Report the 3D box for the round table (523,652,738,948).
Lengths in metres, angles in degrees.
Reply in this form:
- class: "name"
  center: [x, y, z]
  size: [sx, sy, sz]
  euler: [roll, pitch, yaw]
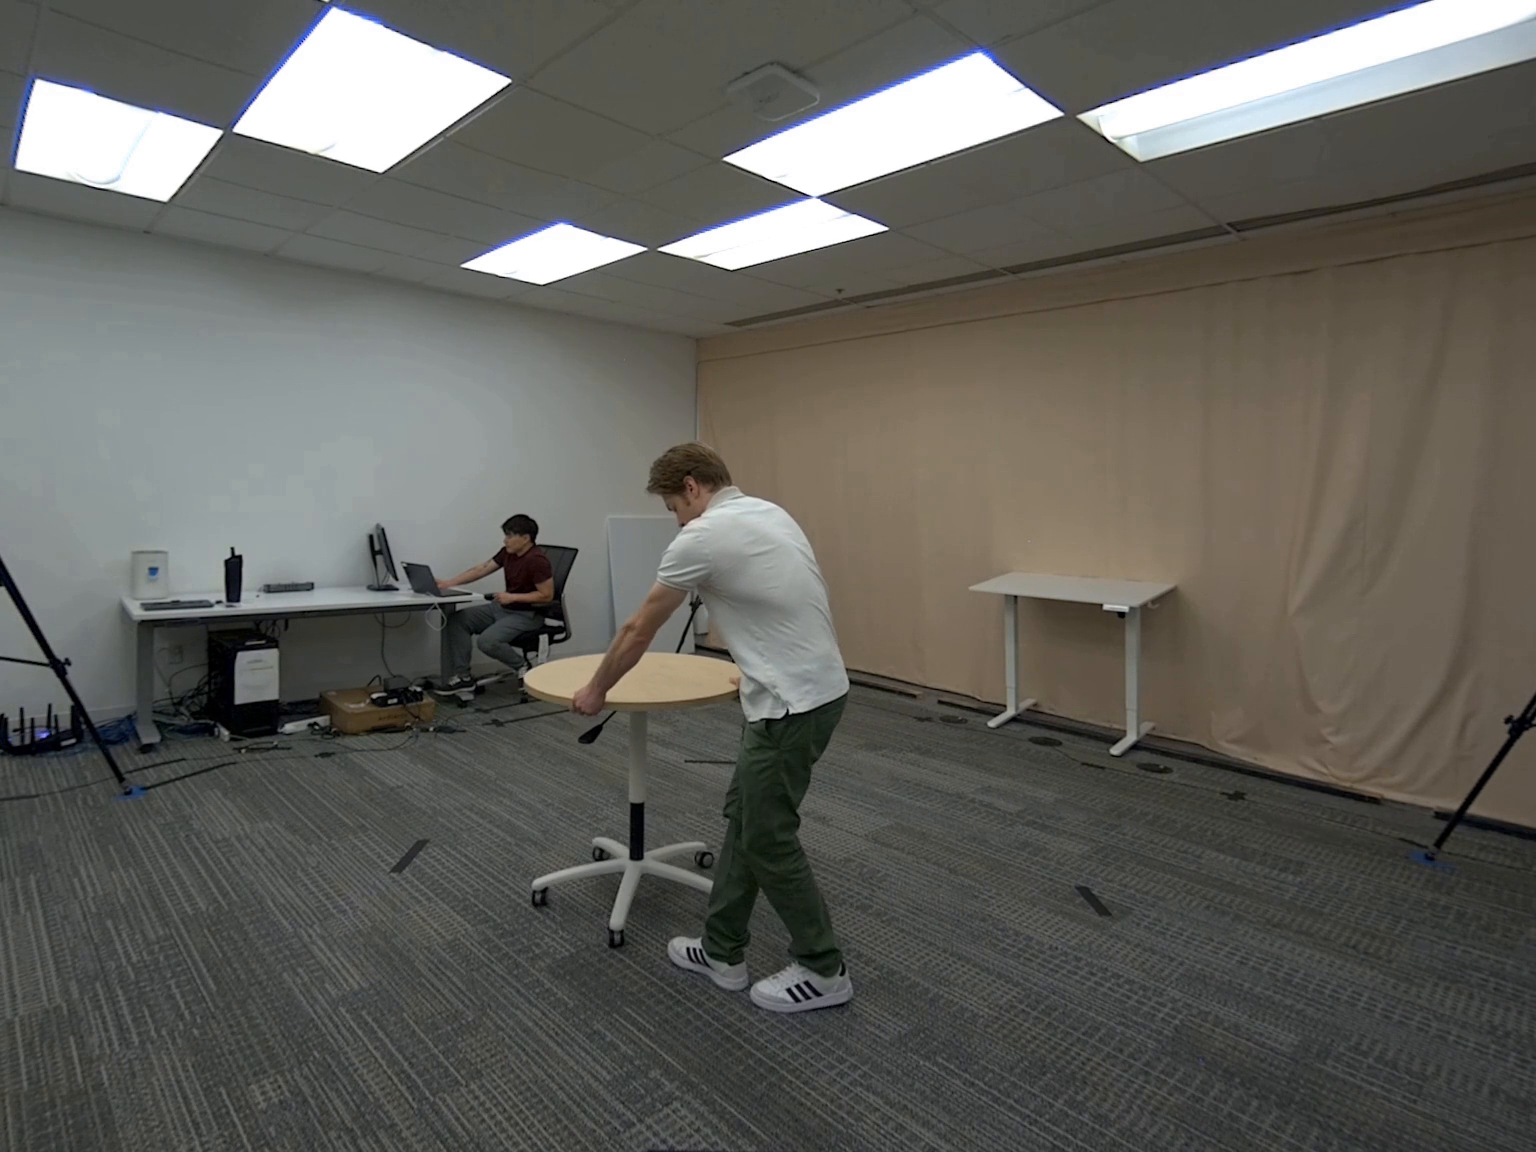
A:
- class: "round table"
  center: [-0.442, 0.725, 2.880]
  size: [0.784, 0.784, 0.788]
  euler: [1, 5, -1]
